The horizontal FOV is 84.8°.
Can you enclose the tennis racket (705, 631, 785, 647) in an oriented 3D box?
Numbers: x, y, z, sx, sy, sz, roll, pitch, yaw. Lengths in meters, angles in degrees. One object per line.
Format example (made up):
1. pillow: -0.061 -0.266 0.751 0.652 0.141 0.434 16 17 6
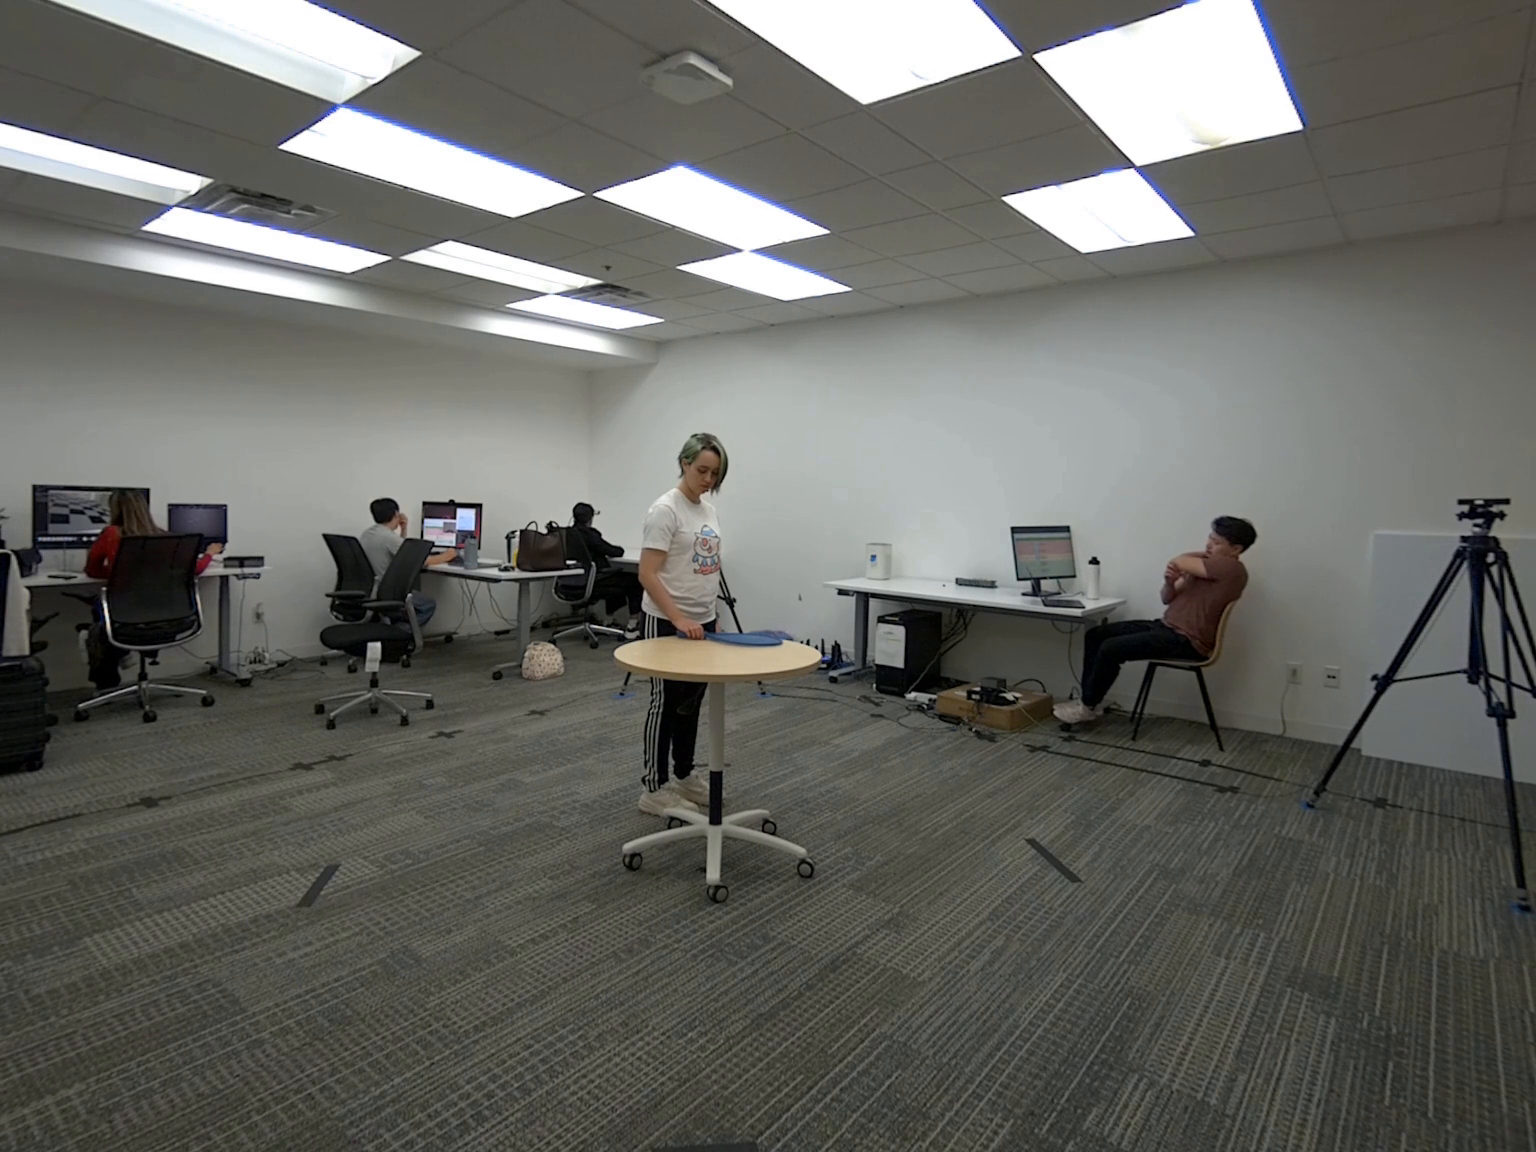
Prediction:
1. tennis racket: -0.154 0.245 3.416 0.444 0.031 0.210 5 9 23
